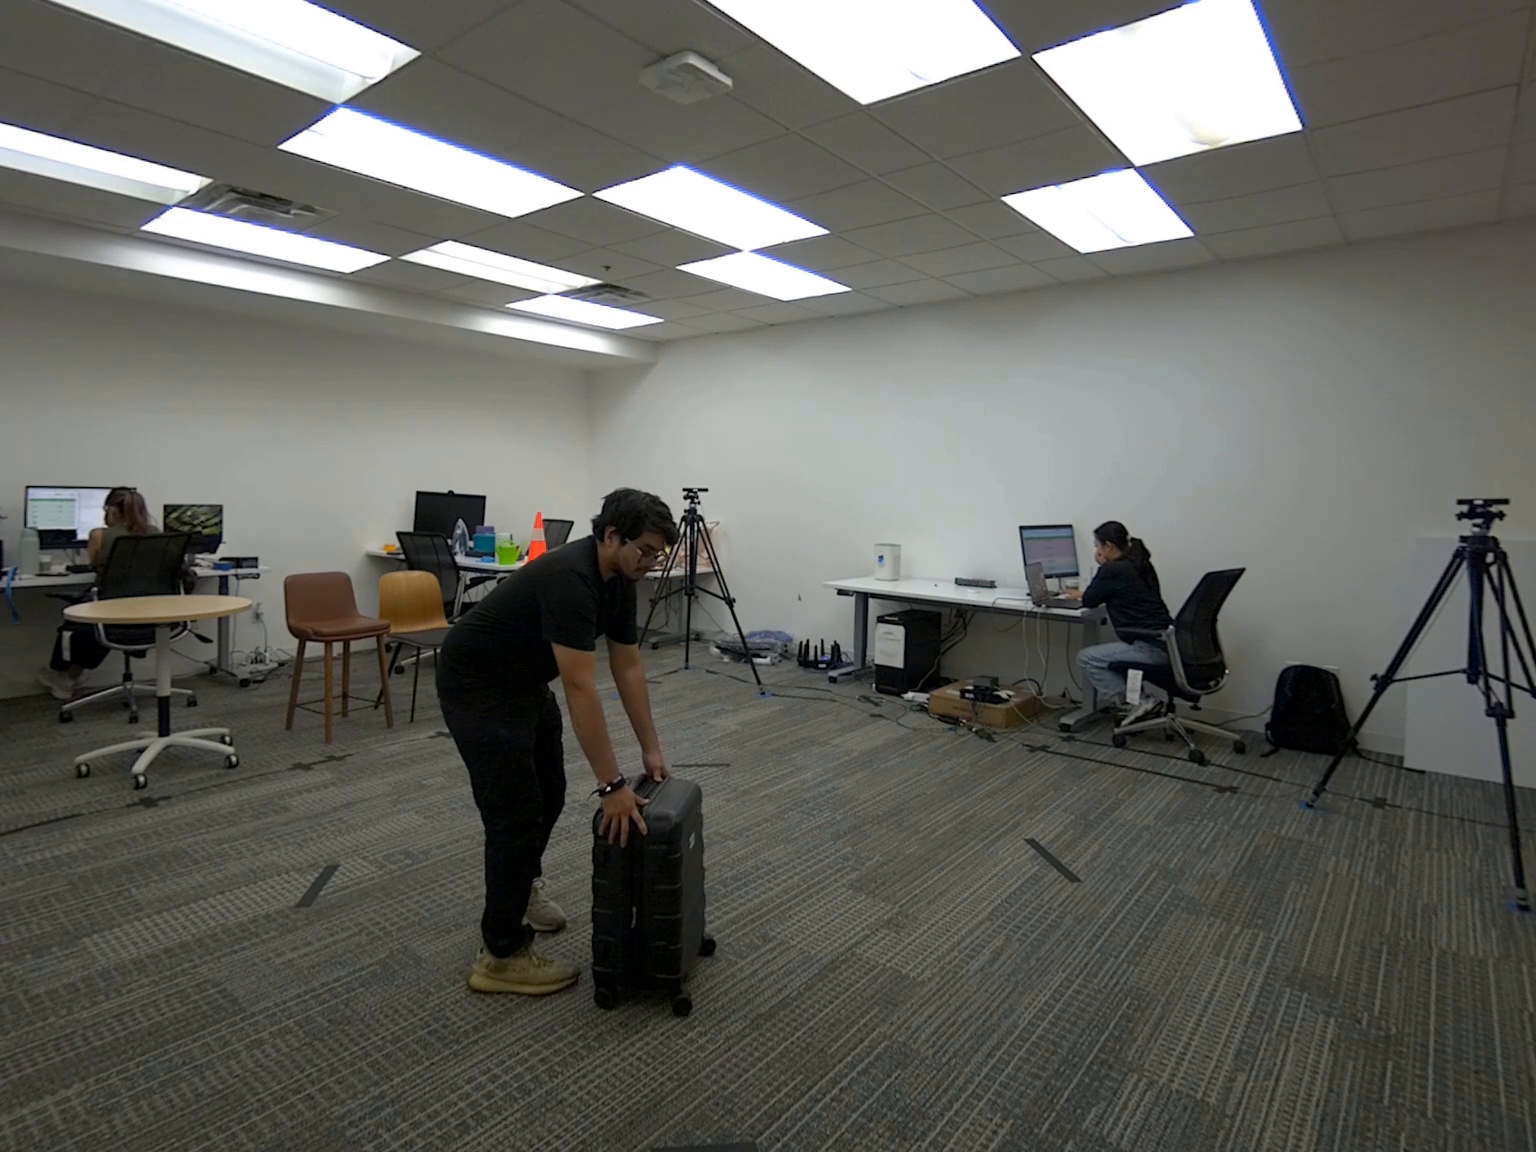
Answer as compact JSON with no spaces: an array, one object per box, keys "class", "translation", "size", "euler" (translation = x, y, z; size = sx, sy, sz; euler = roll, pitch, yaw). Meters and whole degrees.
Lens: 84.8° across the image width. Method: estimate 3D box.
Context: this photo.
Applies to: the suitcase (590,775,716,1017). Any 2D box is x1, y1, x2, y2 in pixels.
[{"class":"suitcase","translation":[-0.337,0.864,2.402],"size":[0.251,0.548,0.373],"euler":[-2,3,9]}]
